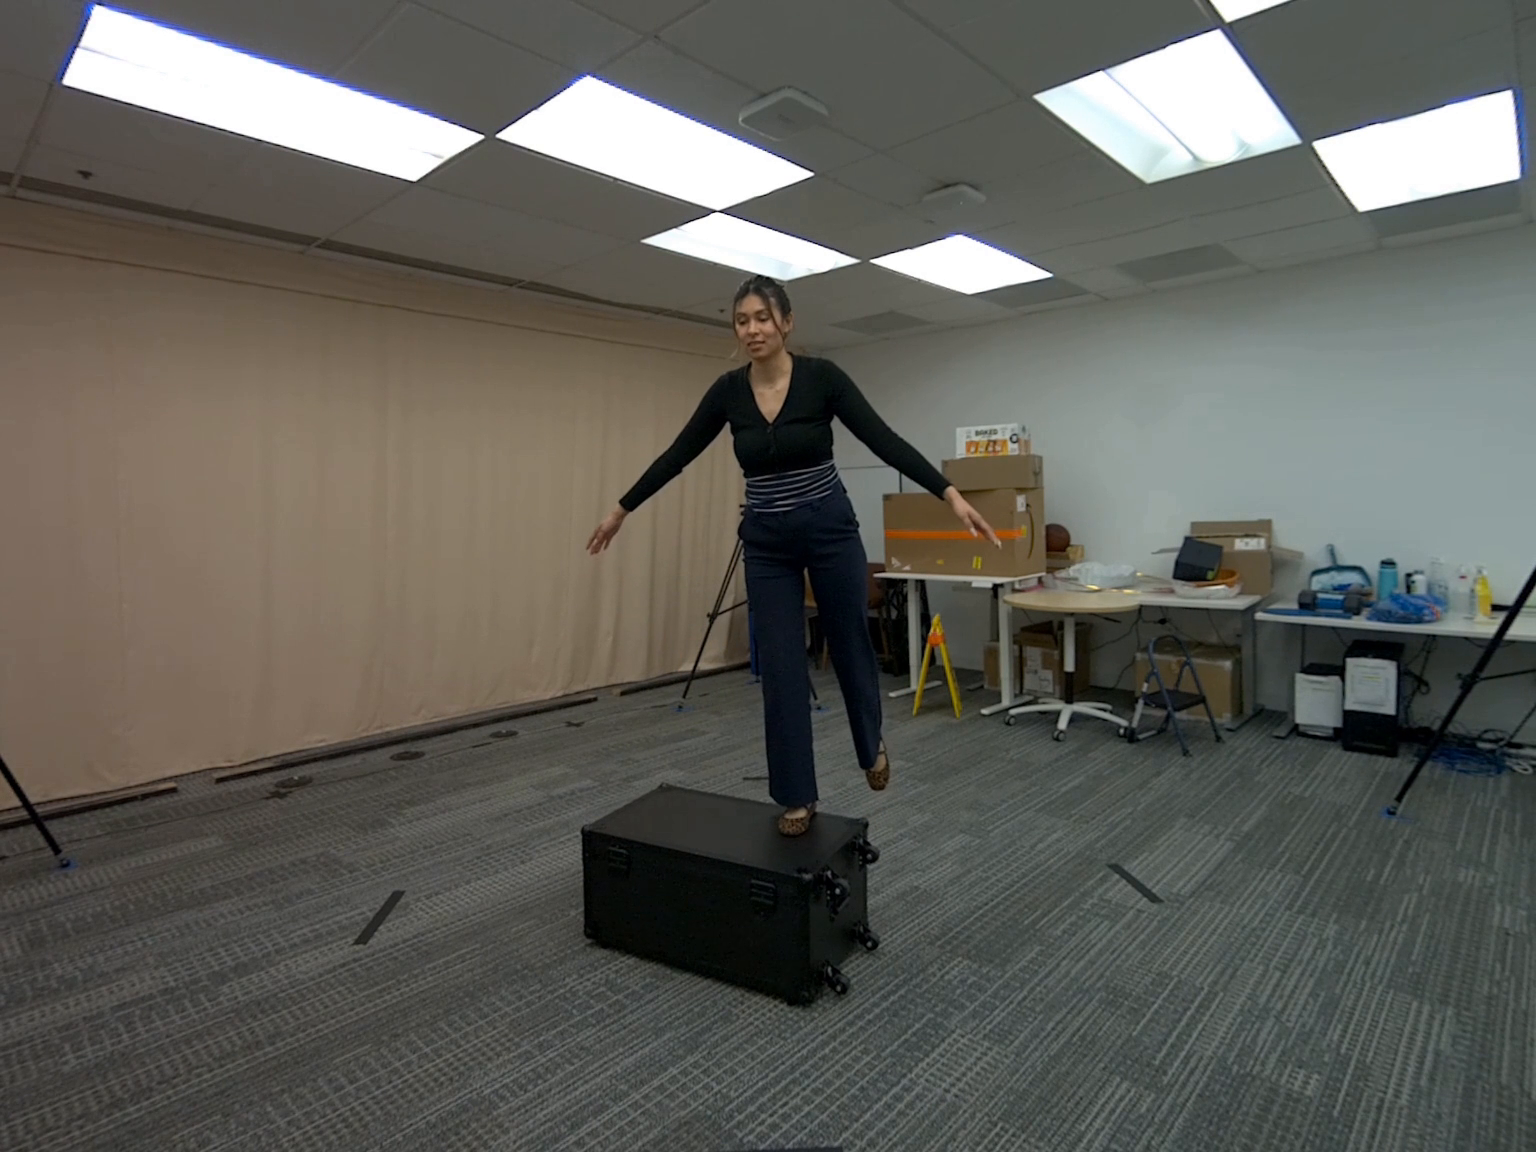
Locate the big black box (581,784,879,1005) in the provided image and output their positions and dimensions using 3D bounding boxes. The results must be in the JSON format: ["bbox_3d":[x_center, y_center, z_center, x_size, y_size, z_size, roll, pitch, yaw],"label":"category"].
[{"bbox_3d":[-0.103,0.981,2.672,0.885,0.395,0.508,1,4,28],"label":"big black box"}]
